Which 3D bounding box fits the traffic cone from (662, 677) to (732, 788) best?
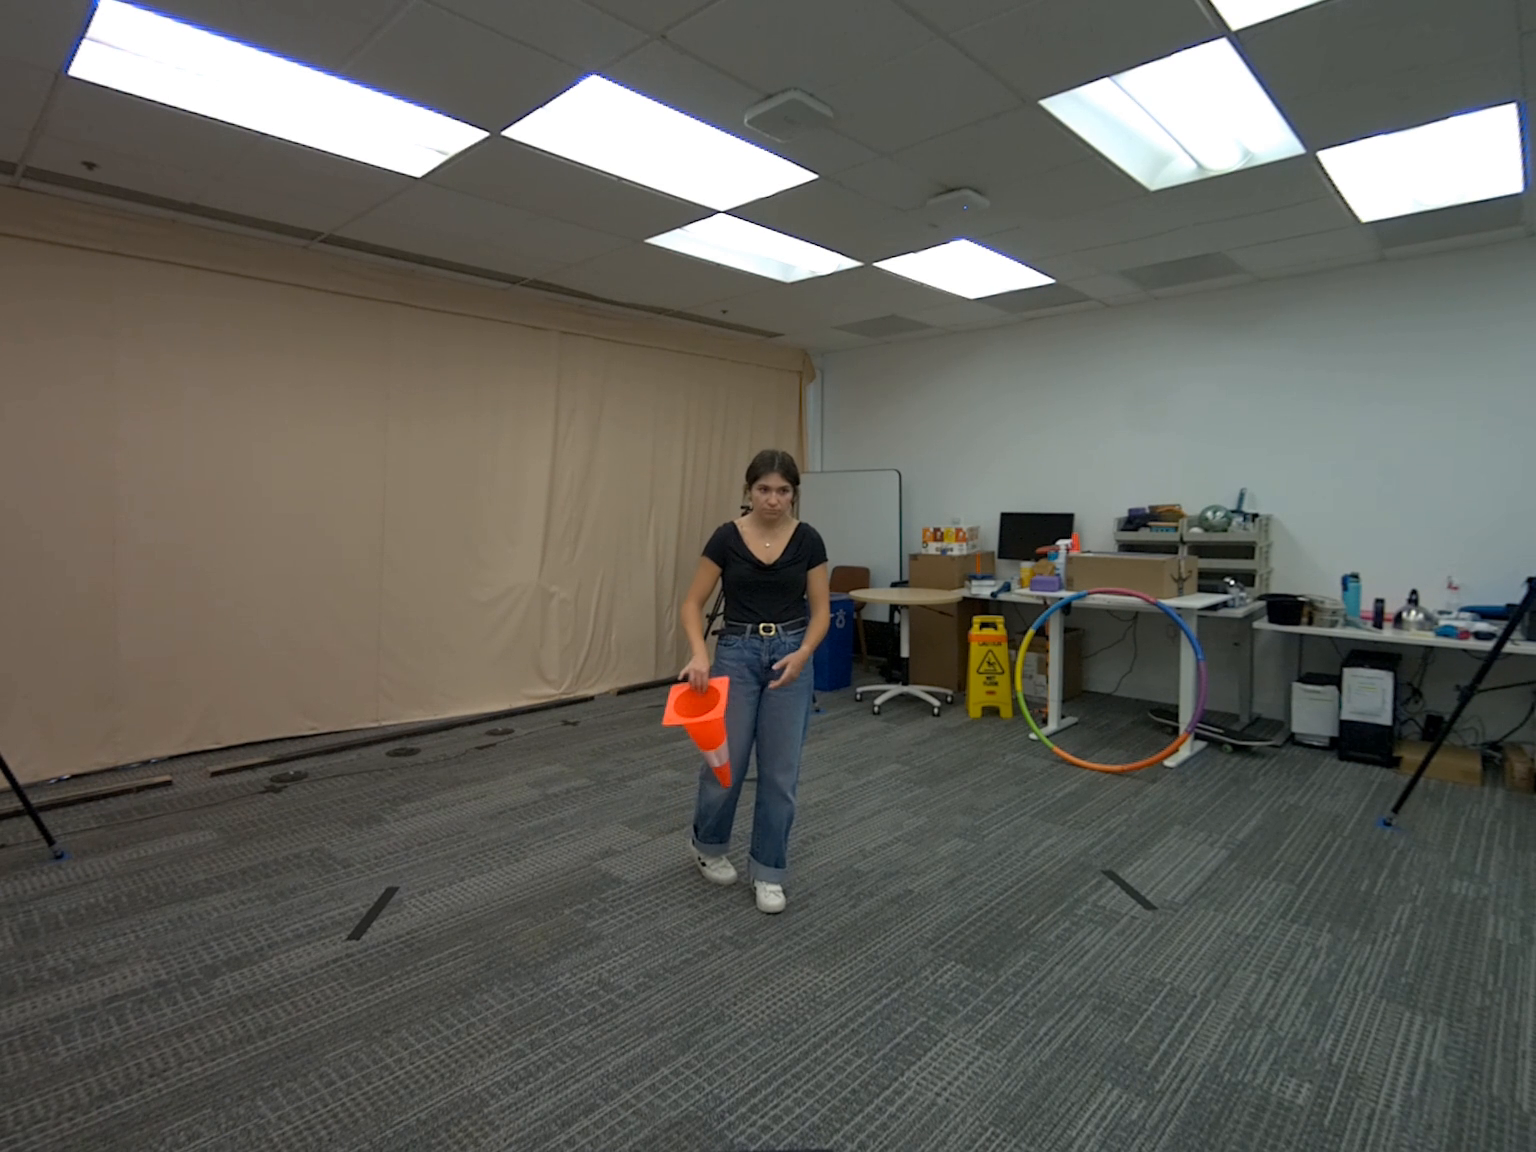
[{"bbox_3d":[-0.173,0.545,2.774,0.205,0.375,0.208,-11,30,10],"label":"traffic cone"}]
